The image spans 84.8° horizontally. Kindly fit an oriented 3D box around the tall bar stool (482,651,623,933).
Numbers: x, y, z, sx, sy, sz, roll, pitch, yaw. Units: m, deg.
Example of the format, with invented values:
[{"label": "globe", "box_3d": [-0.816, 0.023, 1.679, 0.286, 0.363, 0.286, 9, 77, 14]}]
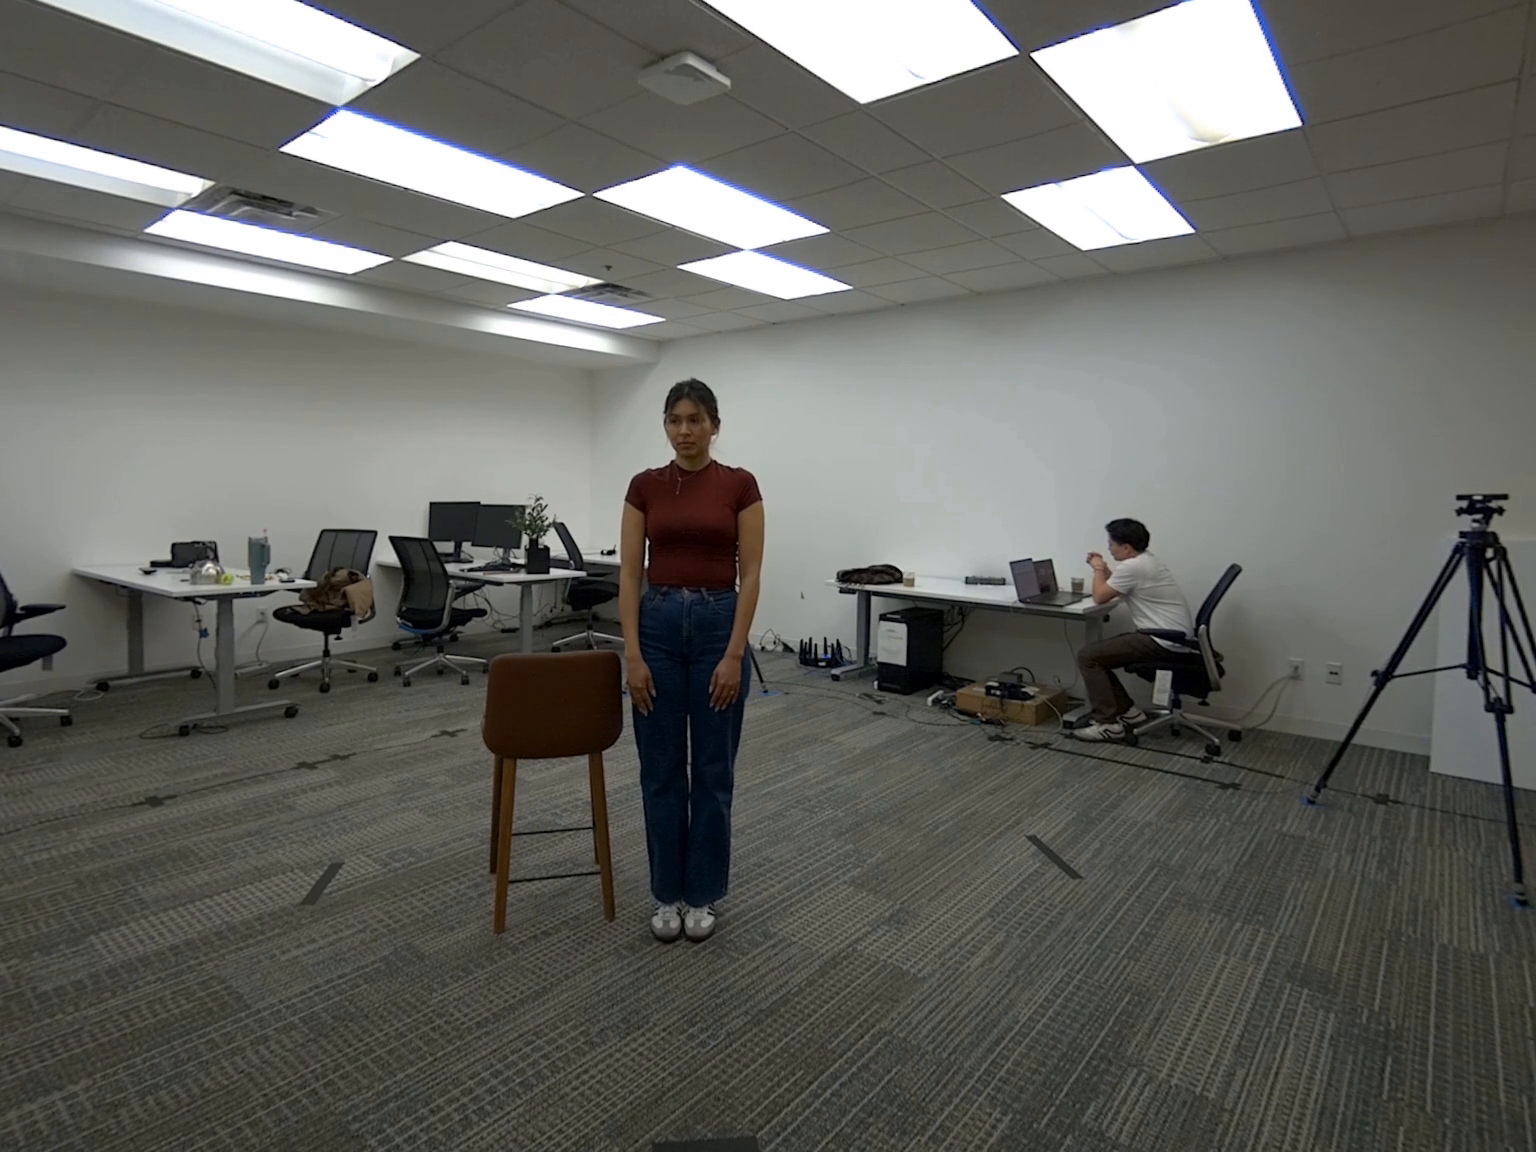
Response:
[{"label": "tall bar stool", "box_3d": [-0.745, 0.651, 2.863, 0.449, 0.885, 0.478, -1, 5, -17]}]
